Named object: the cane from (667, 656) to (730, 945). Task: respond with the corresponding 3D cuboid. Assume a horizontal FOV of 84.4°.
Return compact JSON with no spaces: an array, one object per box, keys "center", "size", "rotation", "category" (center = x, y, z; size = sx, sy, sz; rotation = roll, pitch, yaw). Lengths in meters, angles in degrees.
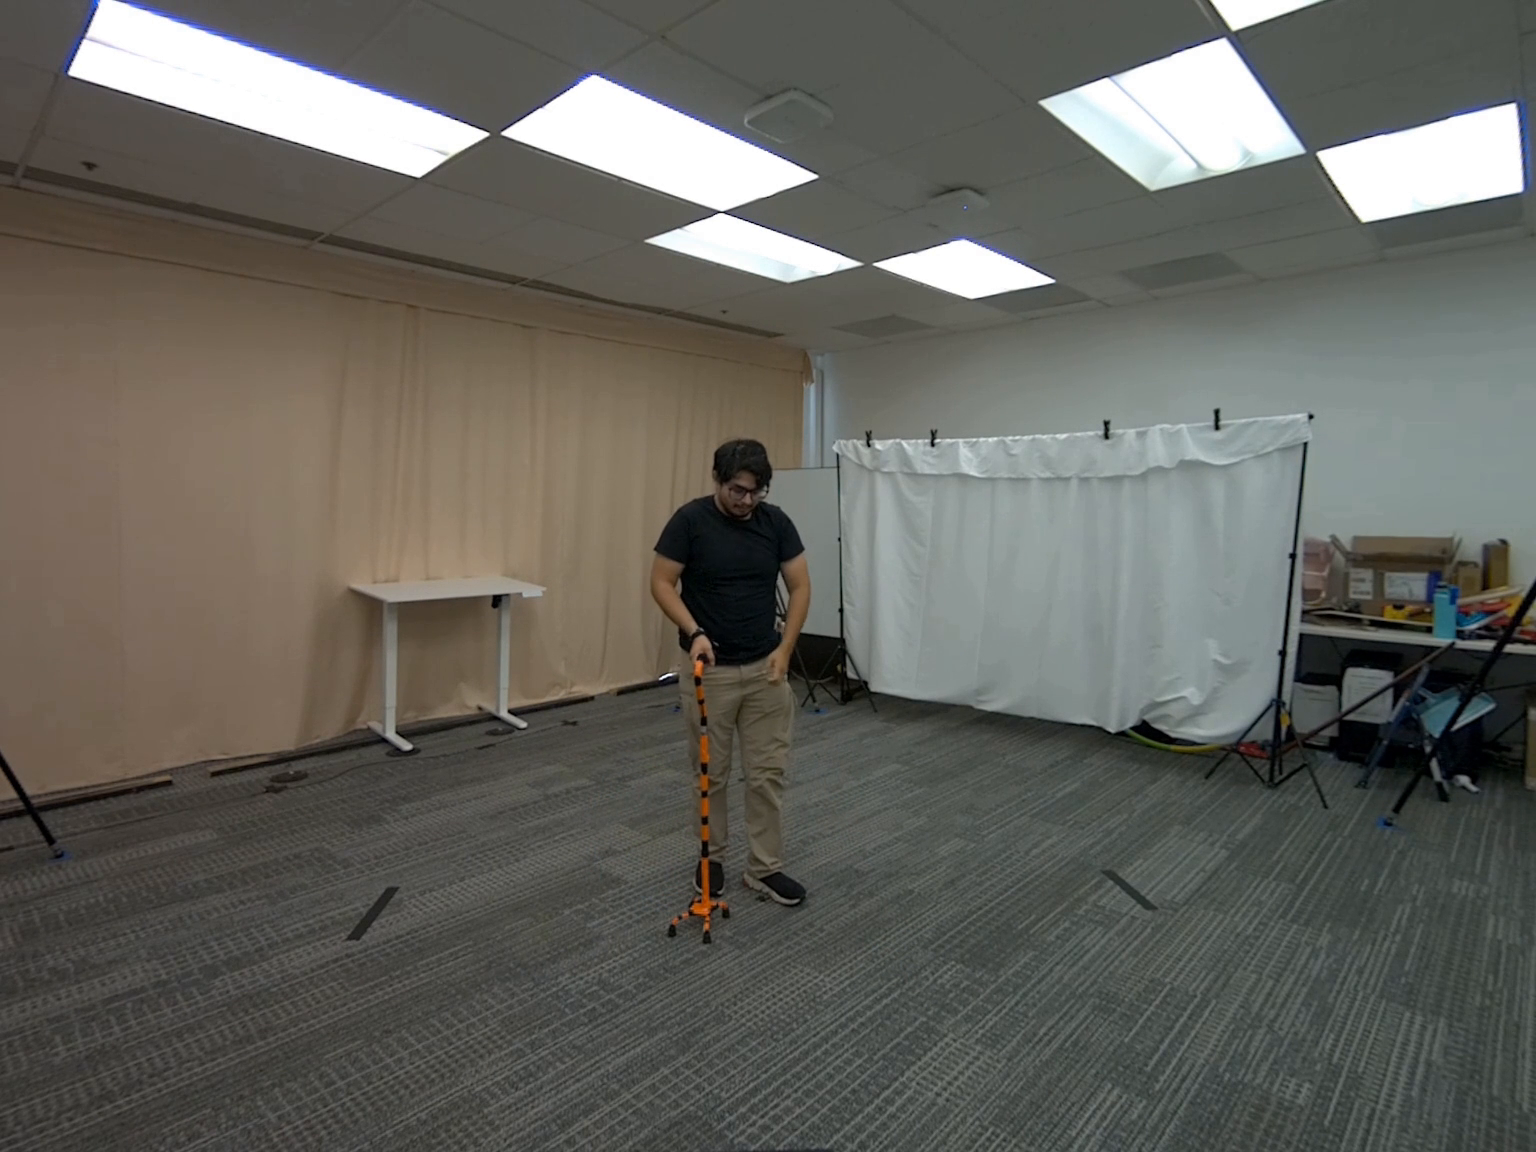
[{"center":[-0.229,0.703,2.765],"size":[0.155,0.906,0.203],"rotation":[1,3,18],"category":"cane"}]
